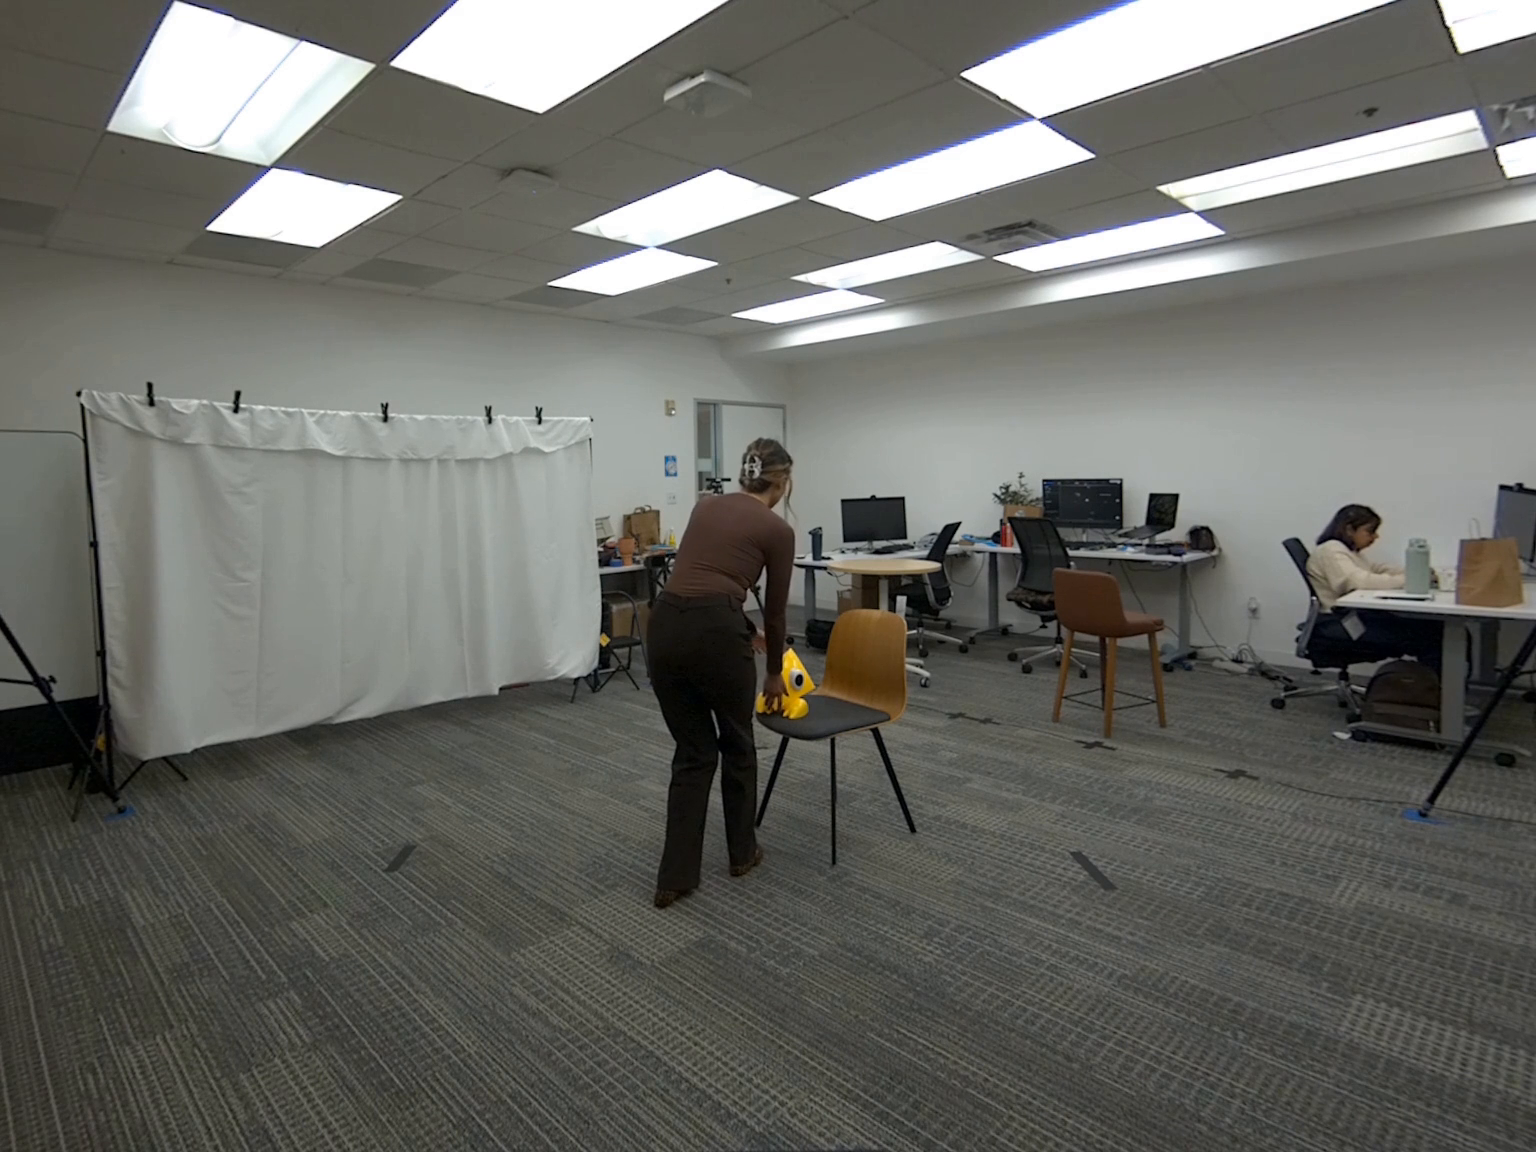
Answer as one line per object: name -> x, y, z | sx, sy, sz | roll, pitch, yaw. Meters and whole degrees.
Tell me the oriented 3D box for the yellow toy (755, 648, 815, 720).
yellow toy -> 0.063, 0.412, 3.345 | 0.209, 0.229, 0.190 | 6, 9, 21
